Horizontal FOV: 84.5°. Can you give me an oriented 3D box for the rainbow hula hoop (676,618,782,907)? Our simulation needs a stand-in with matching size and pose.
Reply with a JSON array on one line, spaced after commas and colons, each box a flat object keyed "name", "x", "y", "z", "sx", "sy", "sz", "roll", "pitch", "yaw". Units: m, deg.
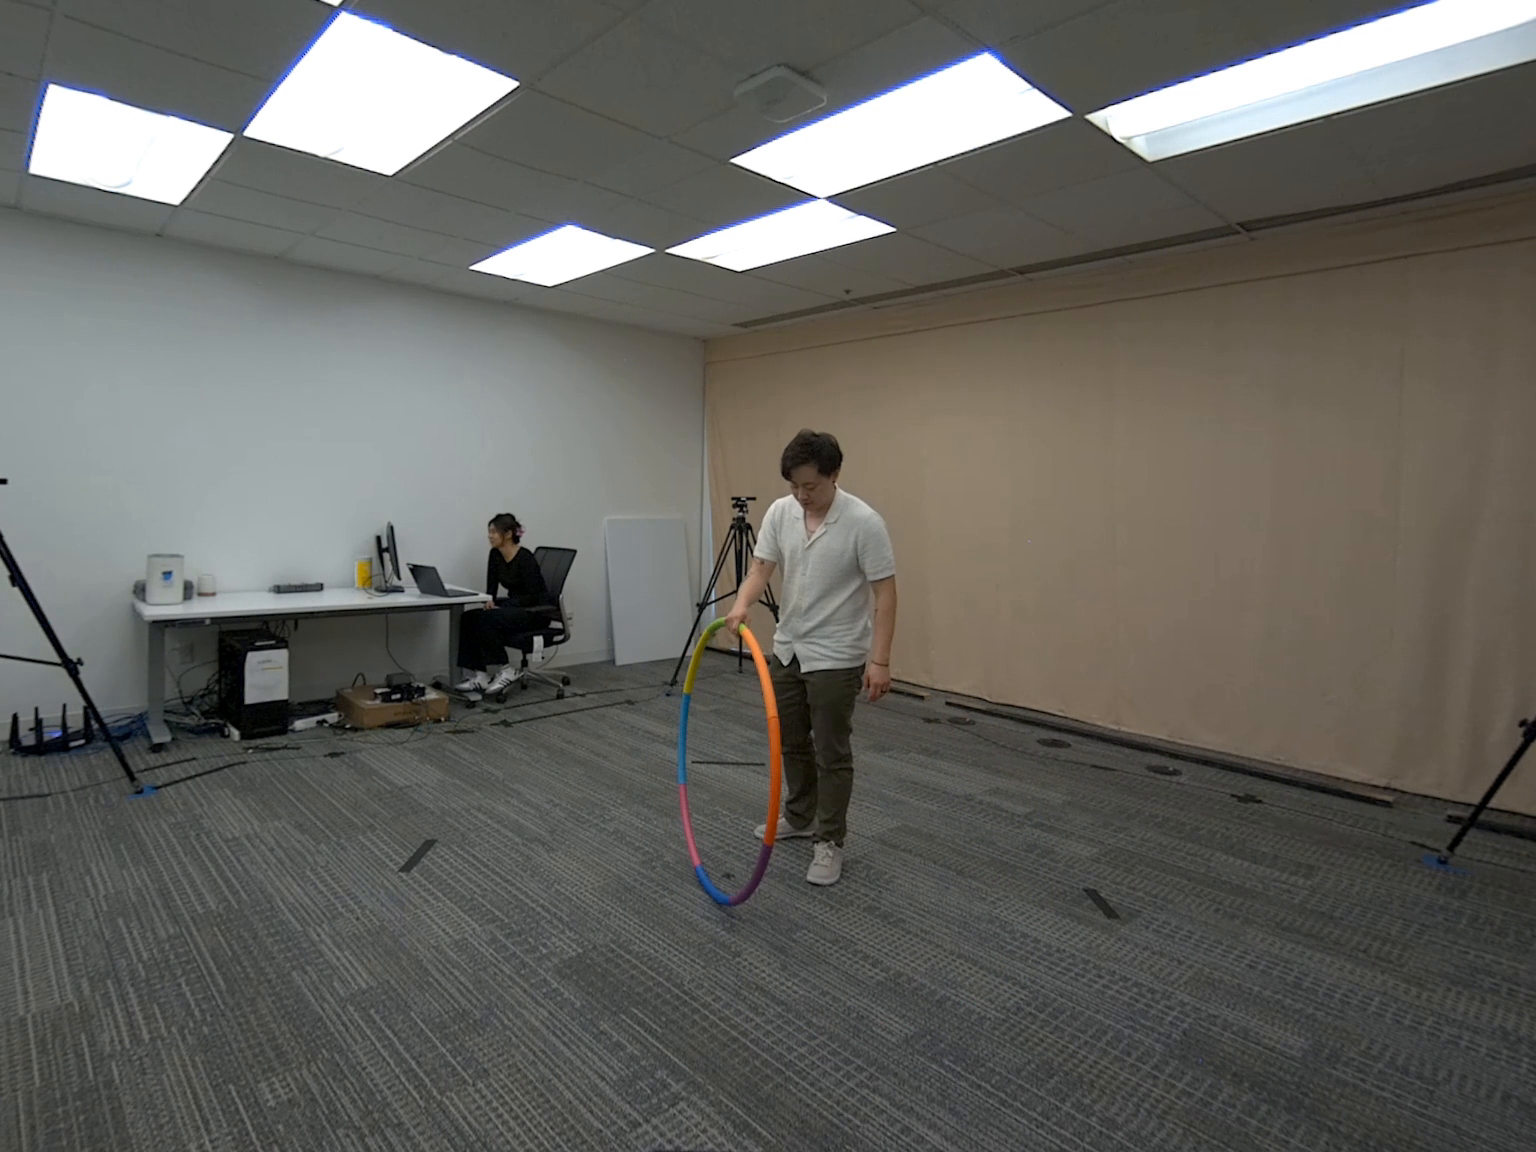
[{"name": "rainbow hula hoop", "x": -0.178, "y": 0.634, "z": 2.975, "sx": 0.035, "sy": 0.977, "sz": 0.997, "roll": 4, "pitch": 3, "yaw": -22}]
